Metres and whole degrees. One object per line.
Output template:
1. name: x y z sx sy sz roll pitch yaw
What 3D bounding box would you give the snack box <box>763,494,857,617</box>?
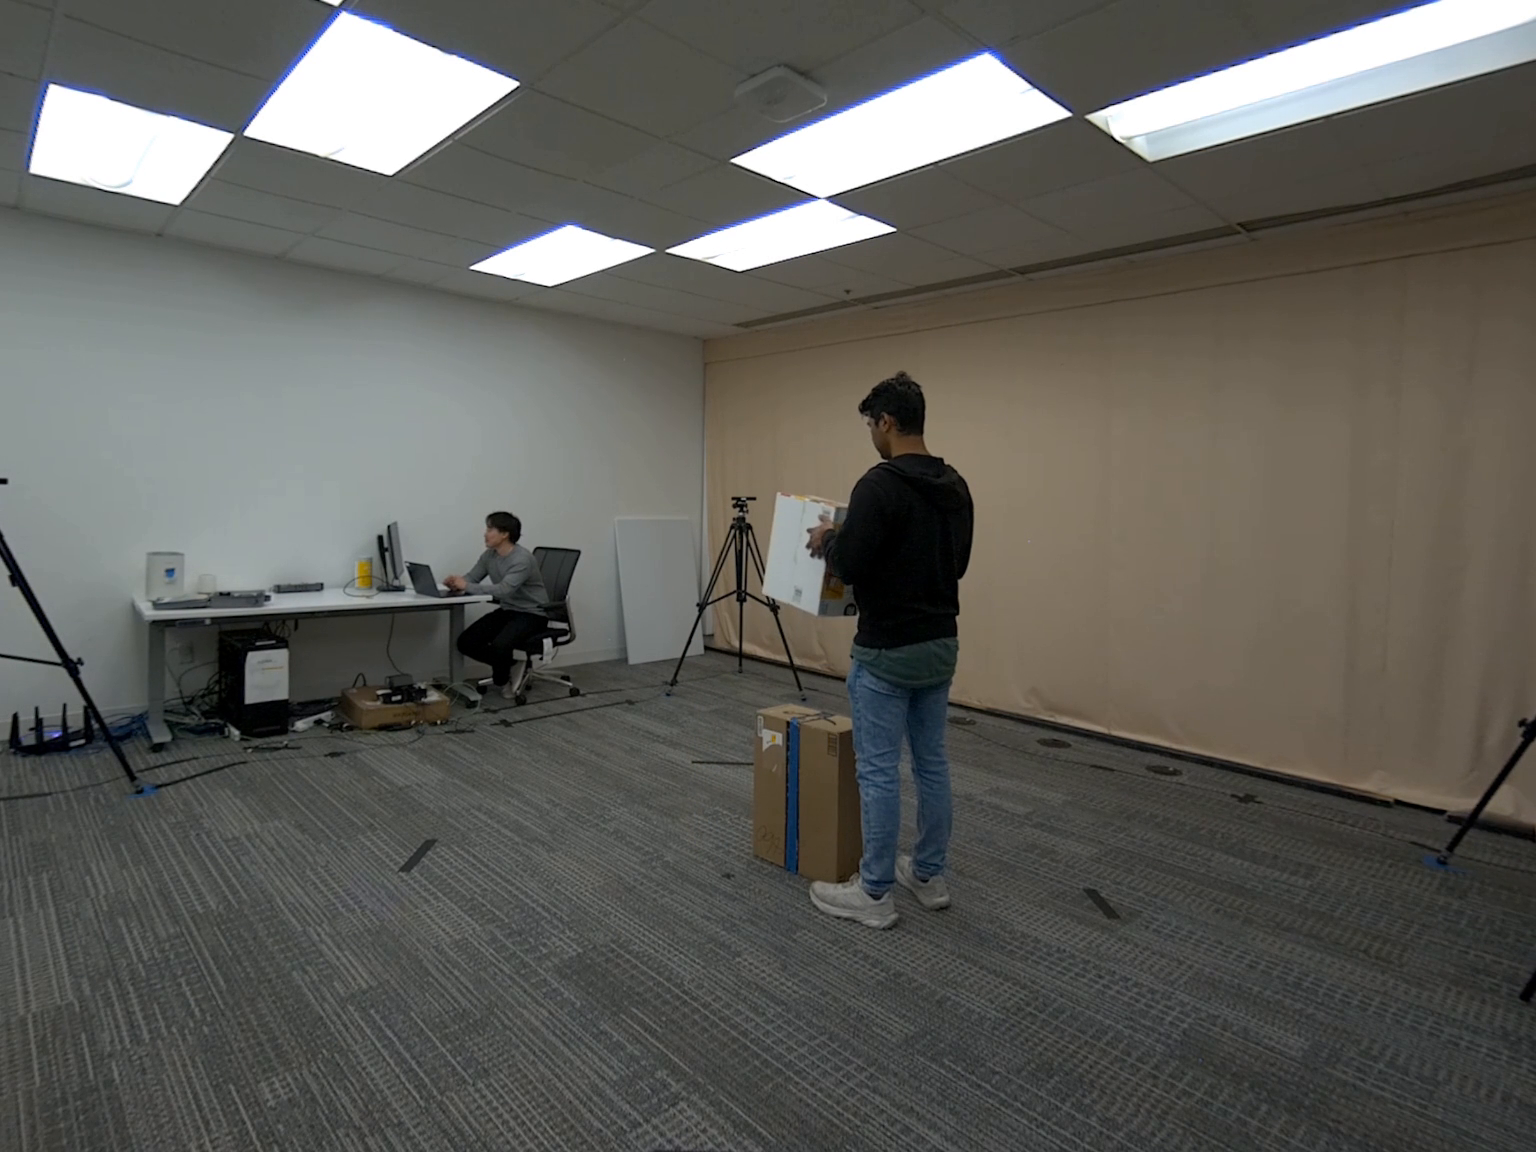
1. snack box: 0.181 -0.080 3.188 0.201 0.403 0.350 2 11 -37
